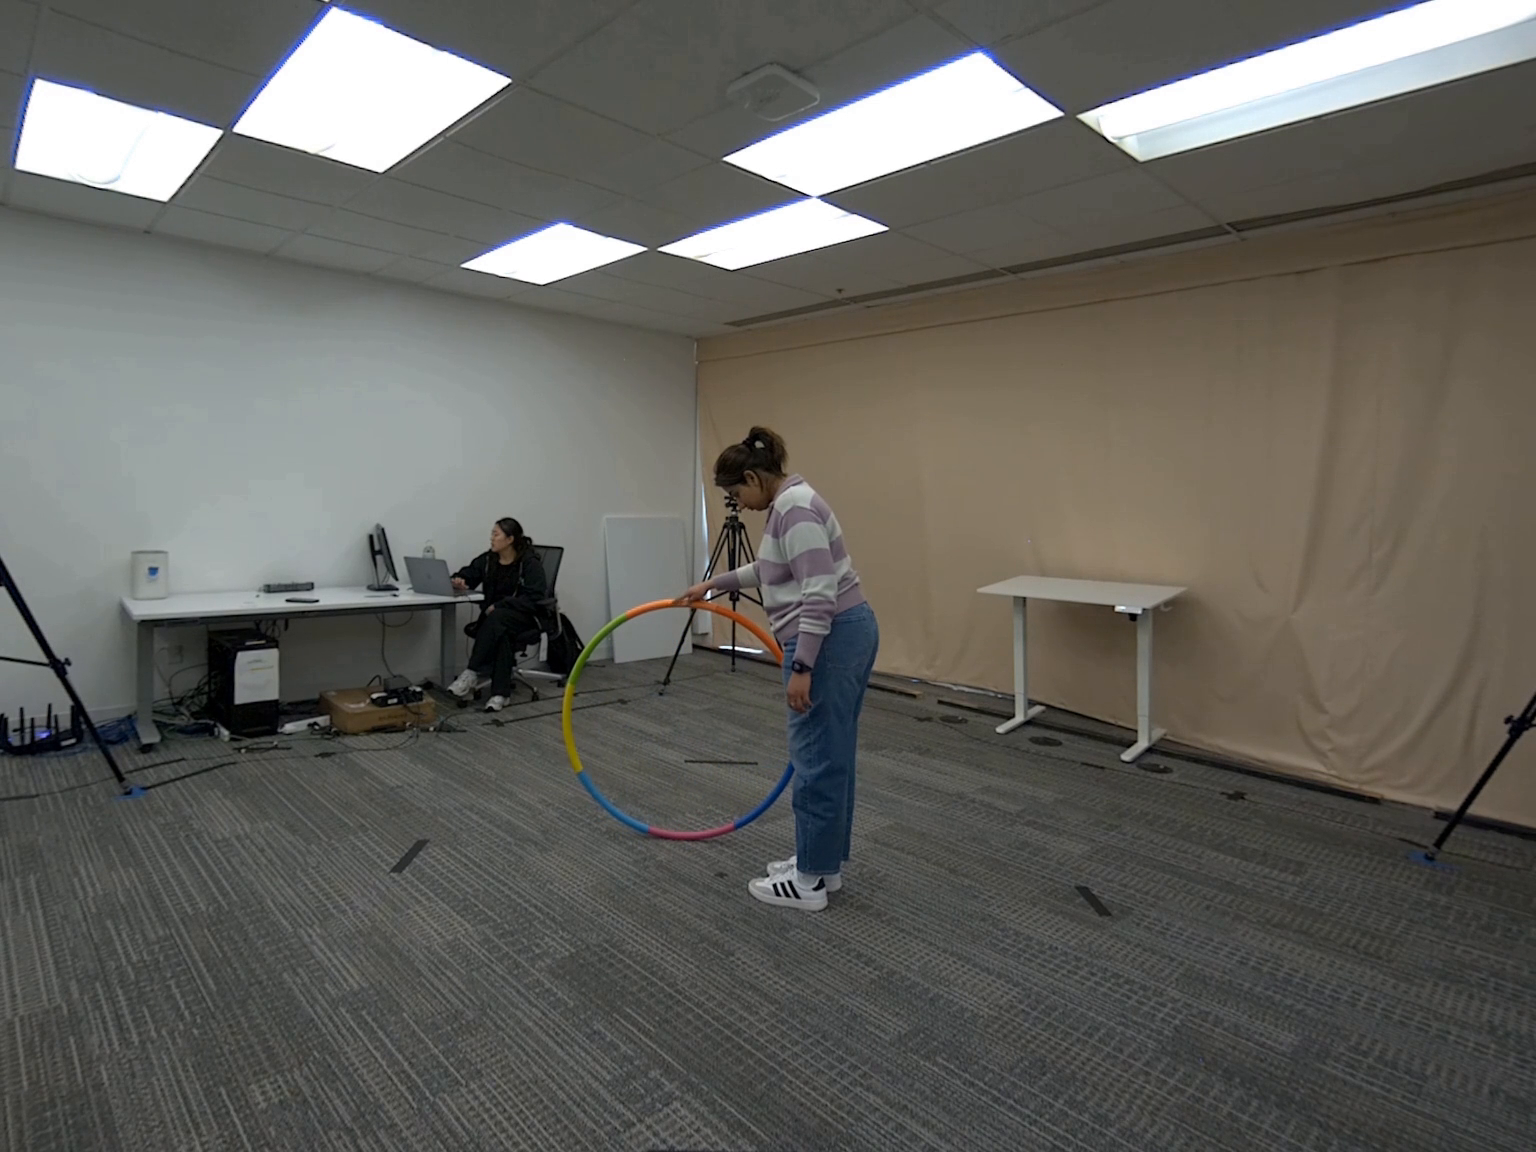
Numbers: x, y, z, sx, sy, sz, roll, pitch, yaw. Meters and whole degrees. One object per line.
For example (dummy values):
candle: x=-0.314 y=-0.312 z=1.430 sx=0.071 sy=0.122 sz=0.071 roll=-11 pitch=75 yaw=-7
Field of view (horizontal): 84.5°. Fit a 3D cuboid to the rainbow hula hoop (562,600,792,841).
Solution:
rainbow hula hoop: x=-0.359 y=0.588 z=3.388 sx=0.986 sy=0.976 sz=0.035 roll=2 pitch=4 yaw=9
